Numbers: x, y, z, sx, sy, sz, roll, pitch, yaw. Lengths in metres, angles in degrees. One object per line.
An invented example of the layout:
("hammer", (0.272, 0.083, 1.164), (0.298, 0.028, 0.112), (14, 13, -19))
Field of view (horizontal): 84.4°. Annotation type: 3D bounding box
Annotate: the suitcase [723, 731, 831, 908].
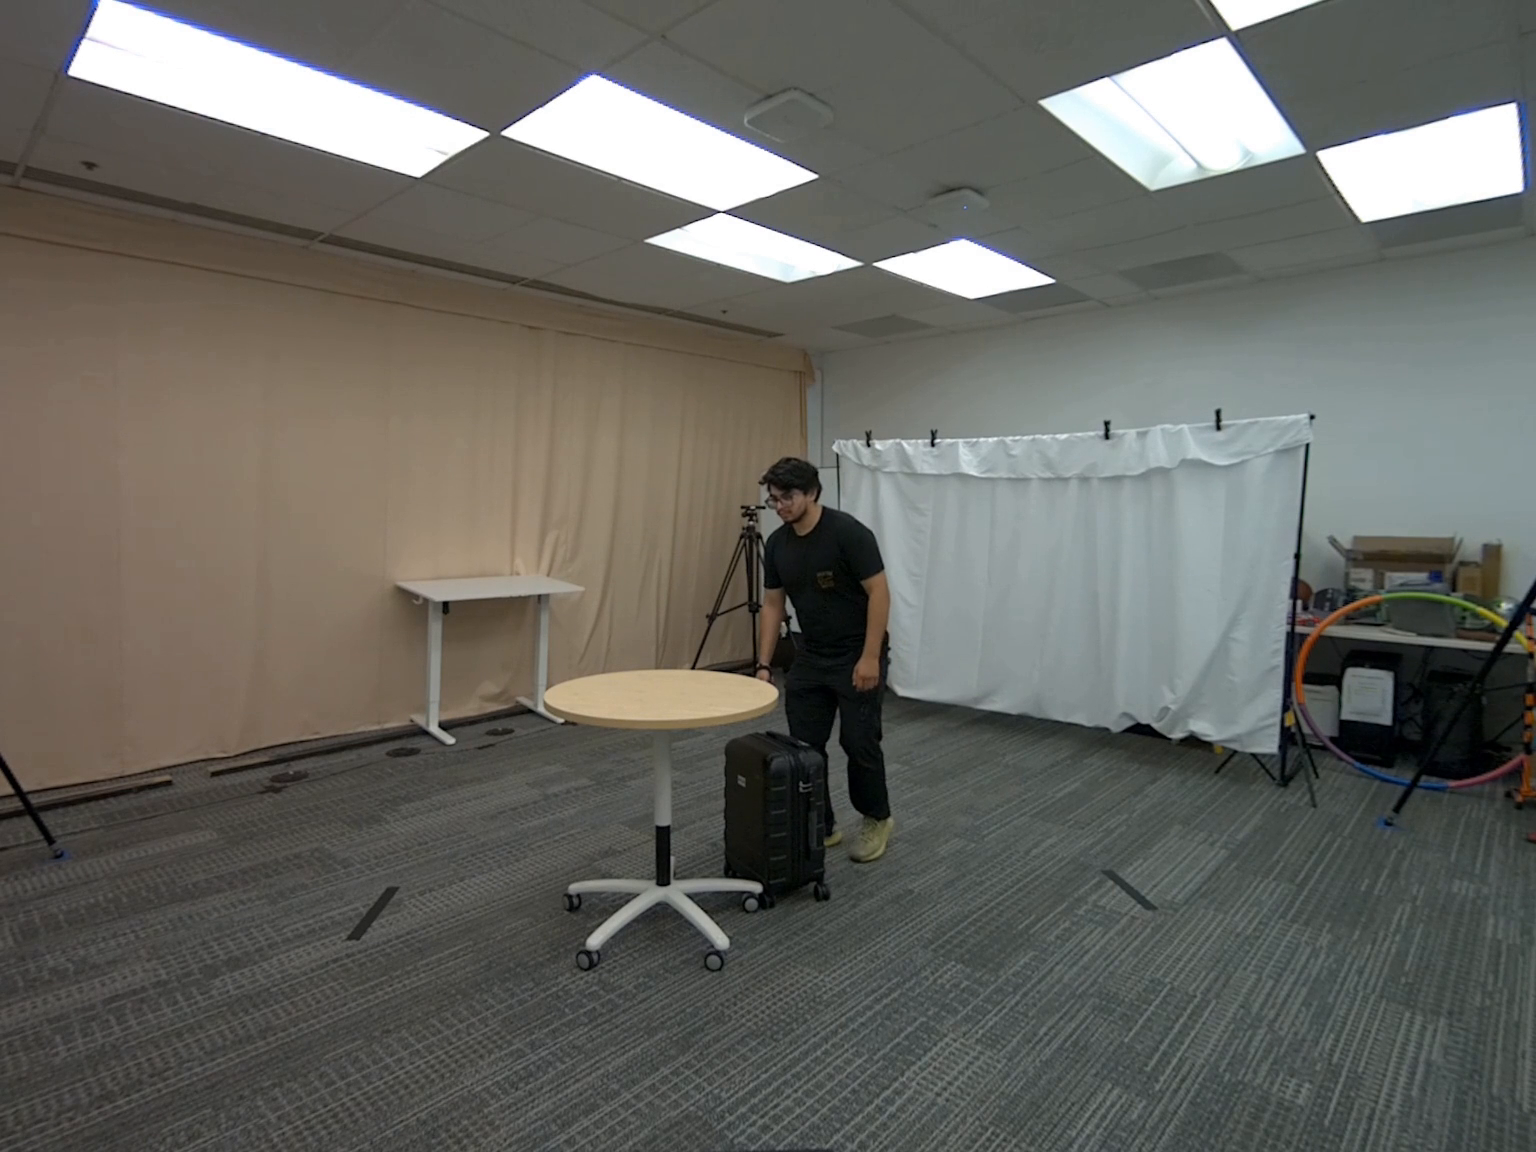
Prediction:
("suitcase", (0.016, 0.857, 3.061), (0.242, 0.548, 0.385), (-1, 3, -27))
